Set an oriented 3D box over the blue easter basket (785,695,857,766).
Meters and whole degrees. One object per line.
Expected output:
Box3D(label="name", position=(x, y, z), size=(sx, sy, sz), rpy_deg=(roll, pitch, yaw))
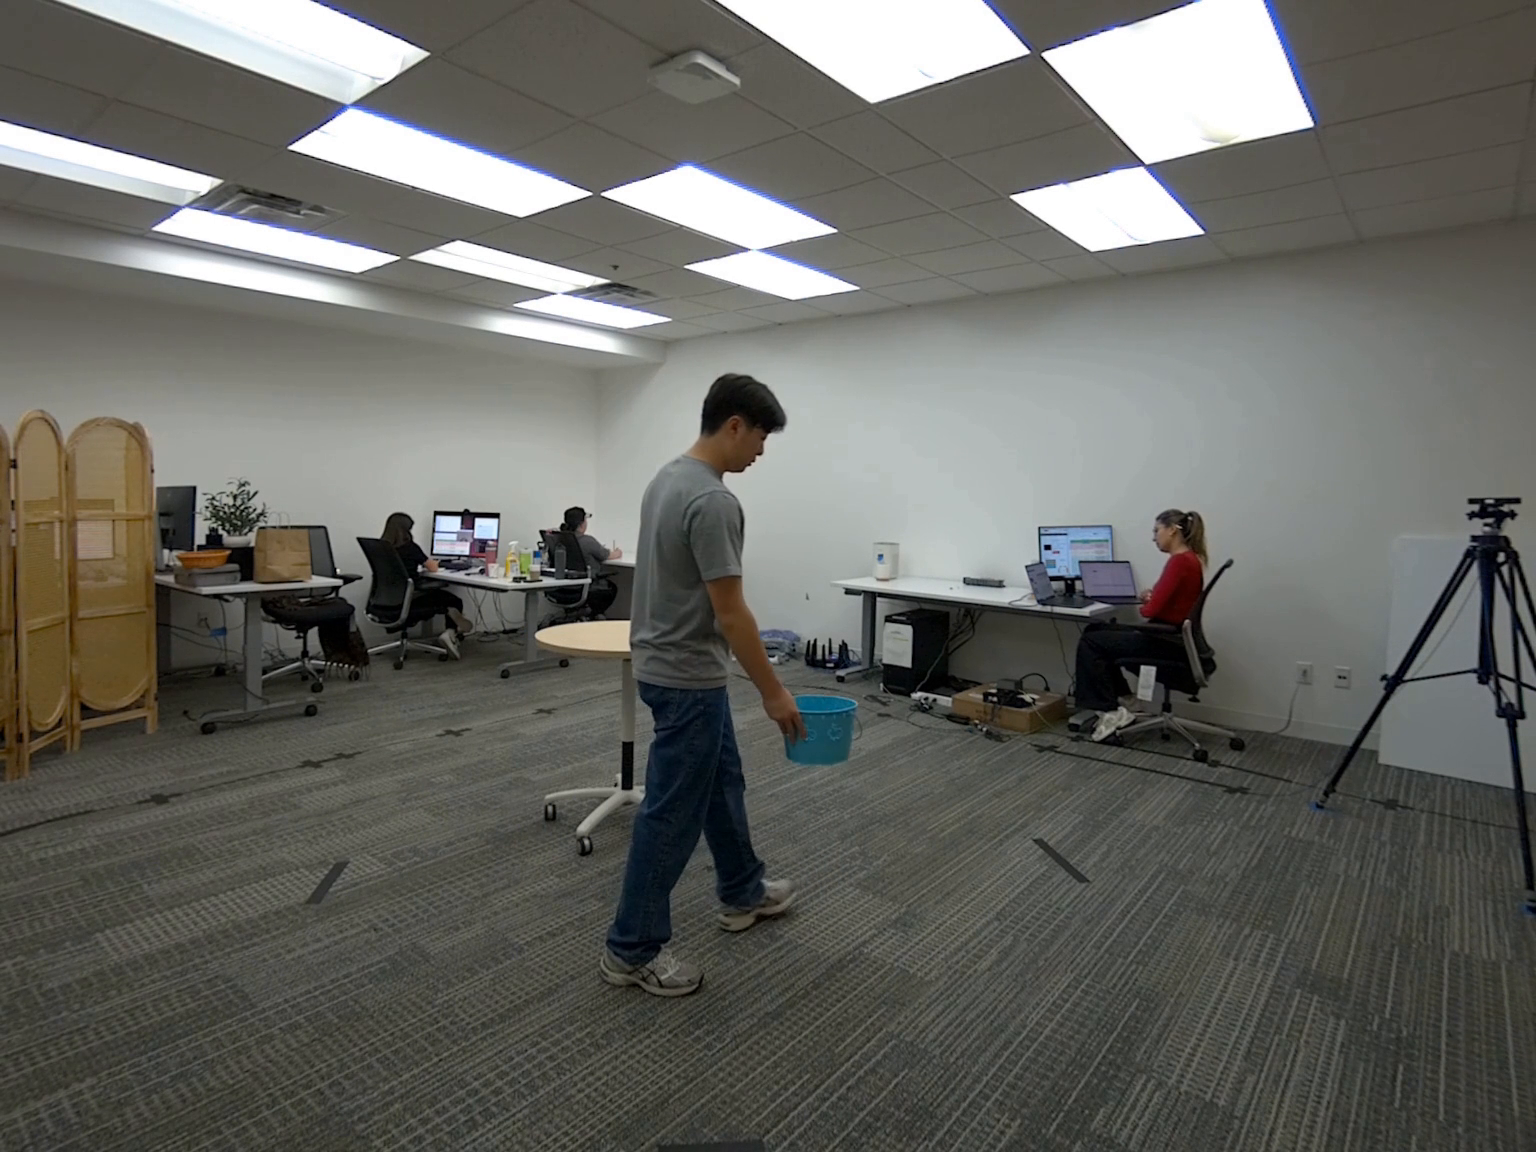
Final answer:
Box3D(label="blue easter basket", position=(0.134, 0.447, 2.413), size=(0.243, 0.155, 0.244), rpy_deg=(0, 3, -2))
